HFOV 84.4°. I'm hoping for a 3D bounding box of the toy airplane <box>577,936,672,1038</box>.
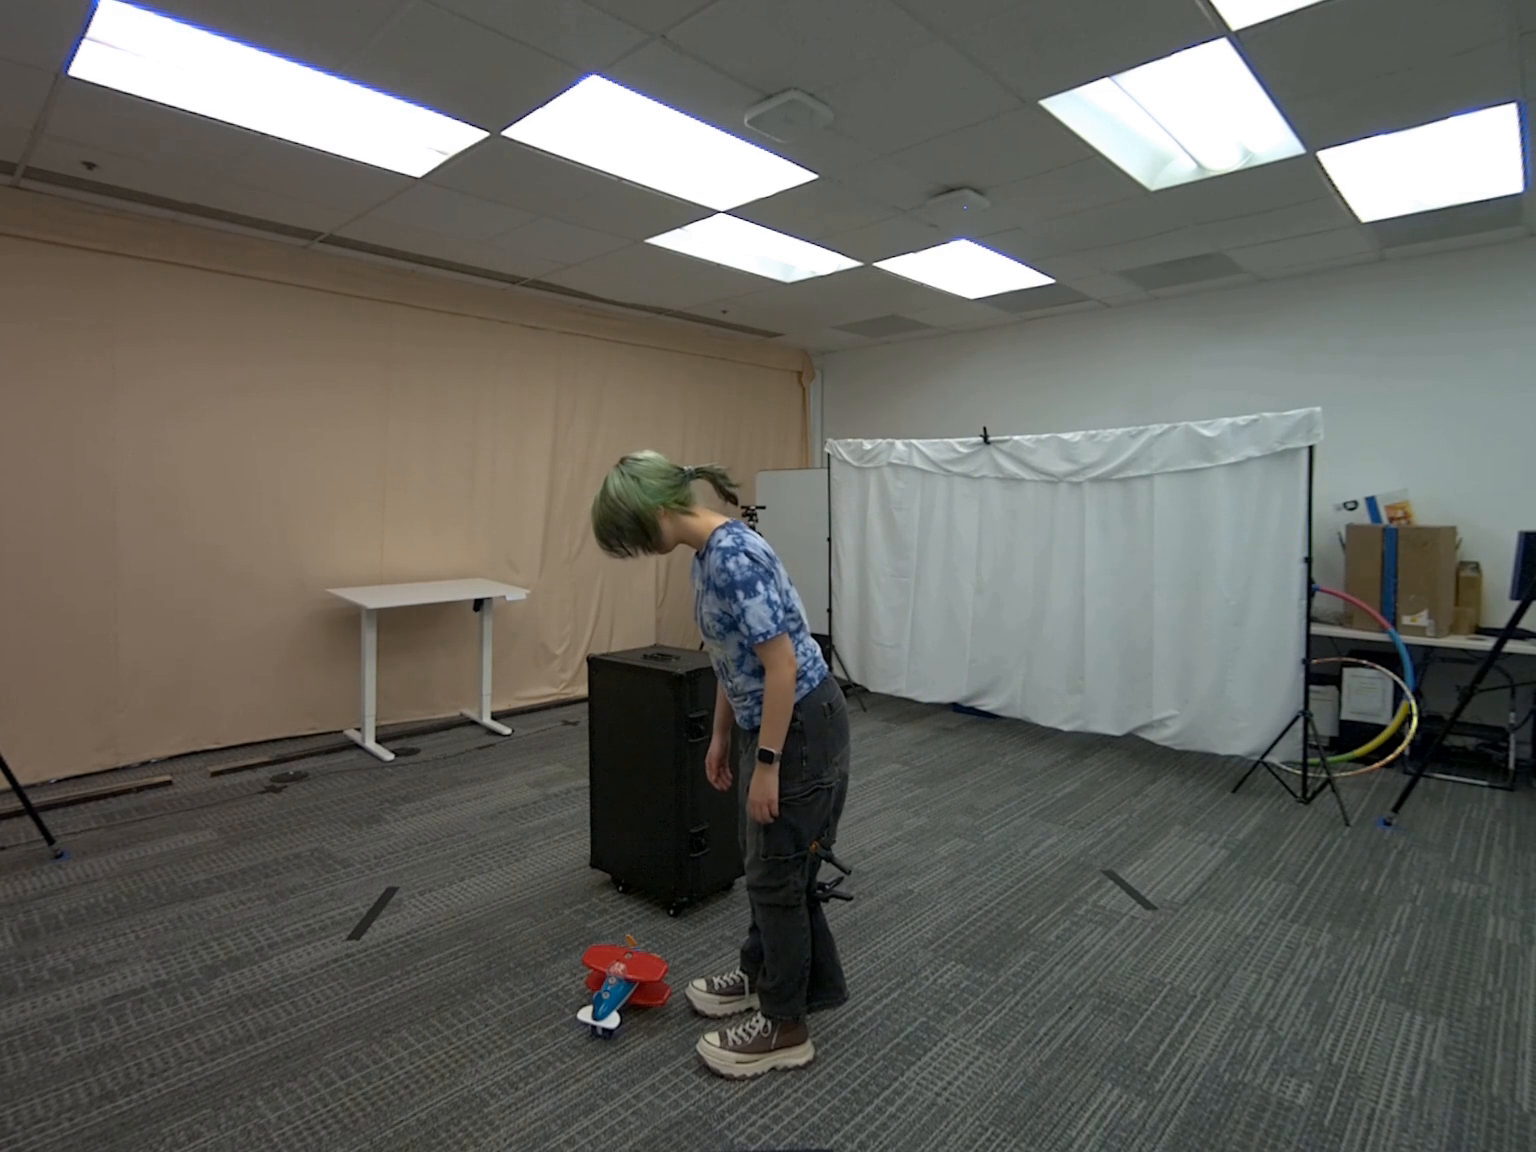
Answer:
[{"bbox_3d":[-0.391,1.125,2.291,0.249,0.156,0.261,0,3,-7],"label":"toy airplane"}]
